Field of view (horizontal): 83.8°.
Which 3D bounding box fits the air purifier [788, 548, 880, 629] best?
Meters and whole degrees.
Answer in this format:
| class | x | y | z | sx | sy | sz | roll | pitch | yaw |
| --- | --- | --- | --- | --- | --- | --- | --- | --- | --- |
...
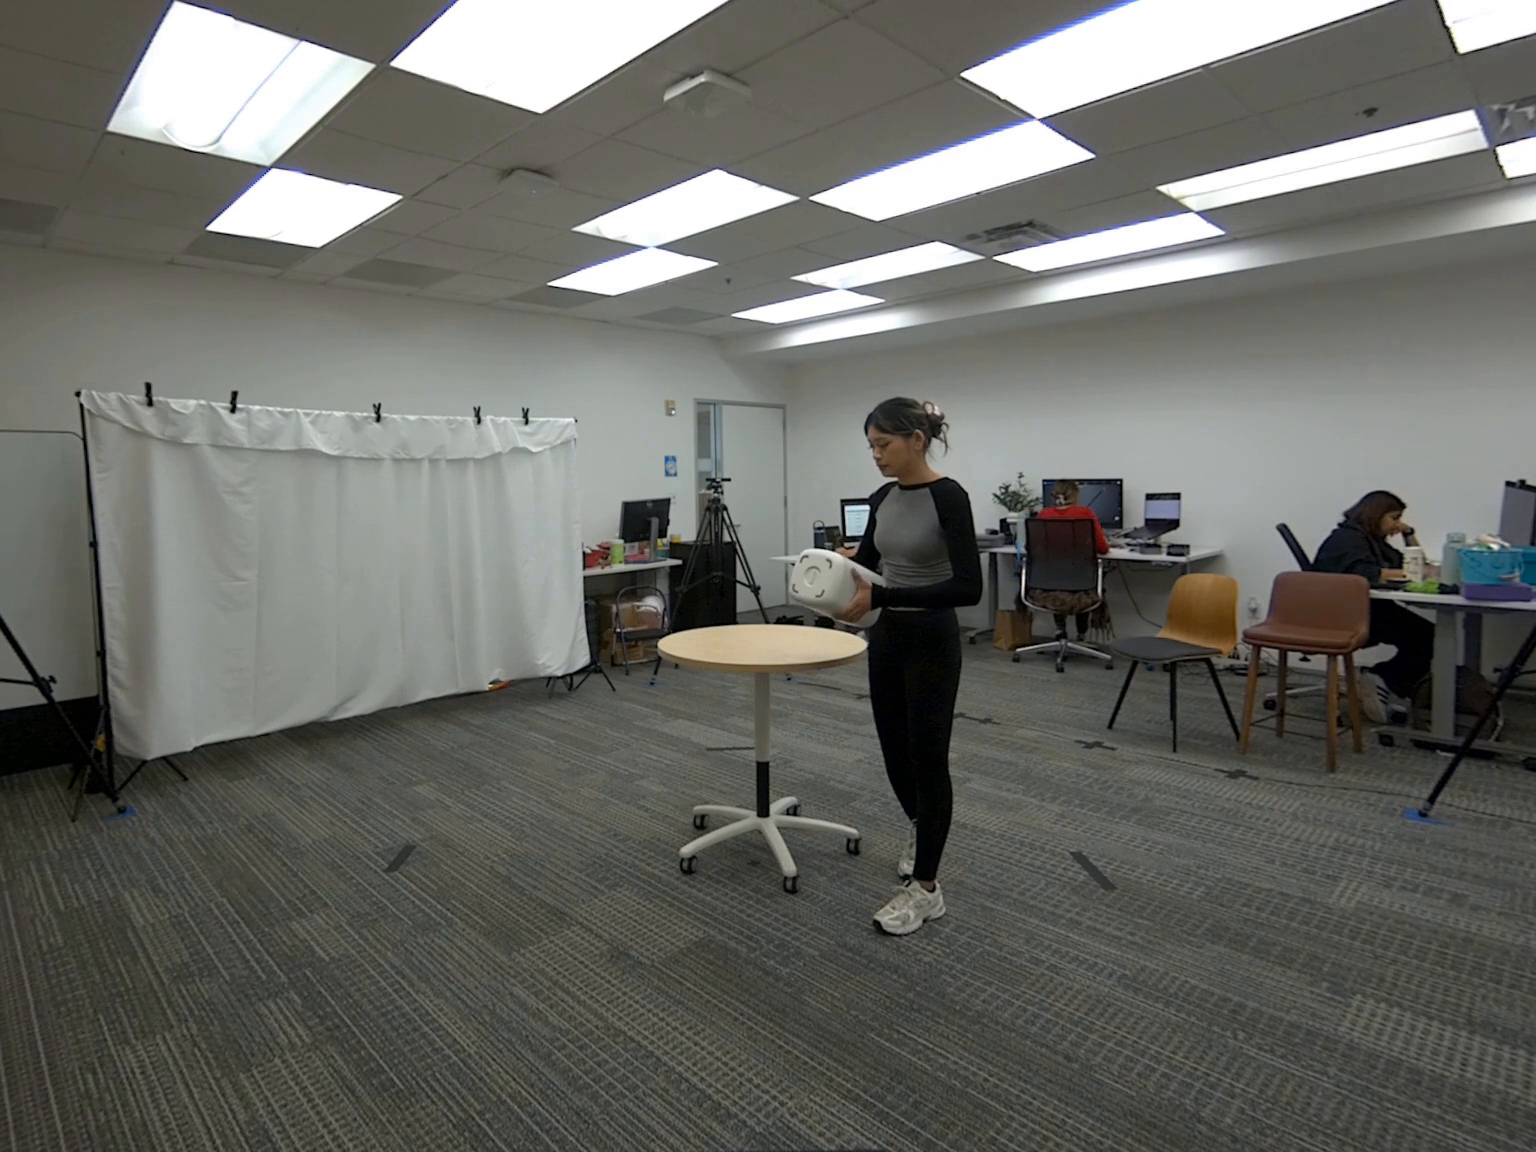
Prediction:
| class | x | y | z | sx | sy | sz | roll | pitch | yaw |
| --- | --- | --- | --- | --- | --- | --- | --- | --- | --- |
| air purifier | 0.209 | 0.033 | 2.534 | 0.177 | 0.172 | 0.255 | 11 | -9 | 43 |
